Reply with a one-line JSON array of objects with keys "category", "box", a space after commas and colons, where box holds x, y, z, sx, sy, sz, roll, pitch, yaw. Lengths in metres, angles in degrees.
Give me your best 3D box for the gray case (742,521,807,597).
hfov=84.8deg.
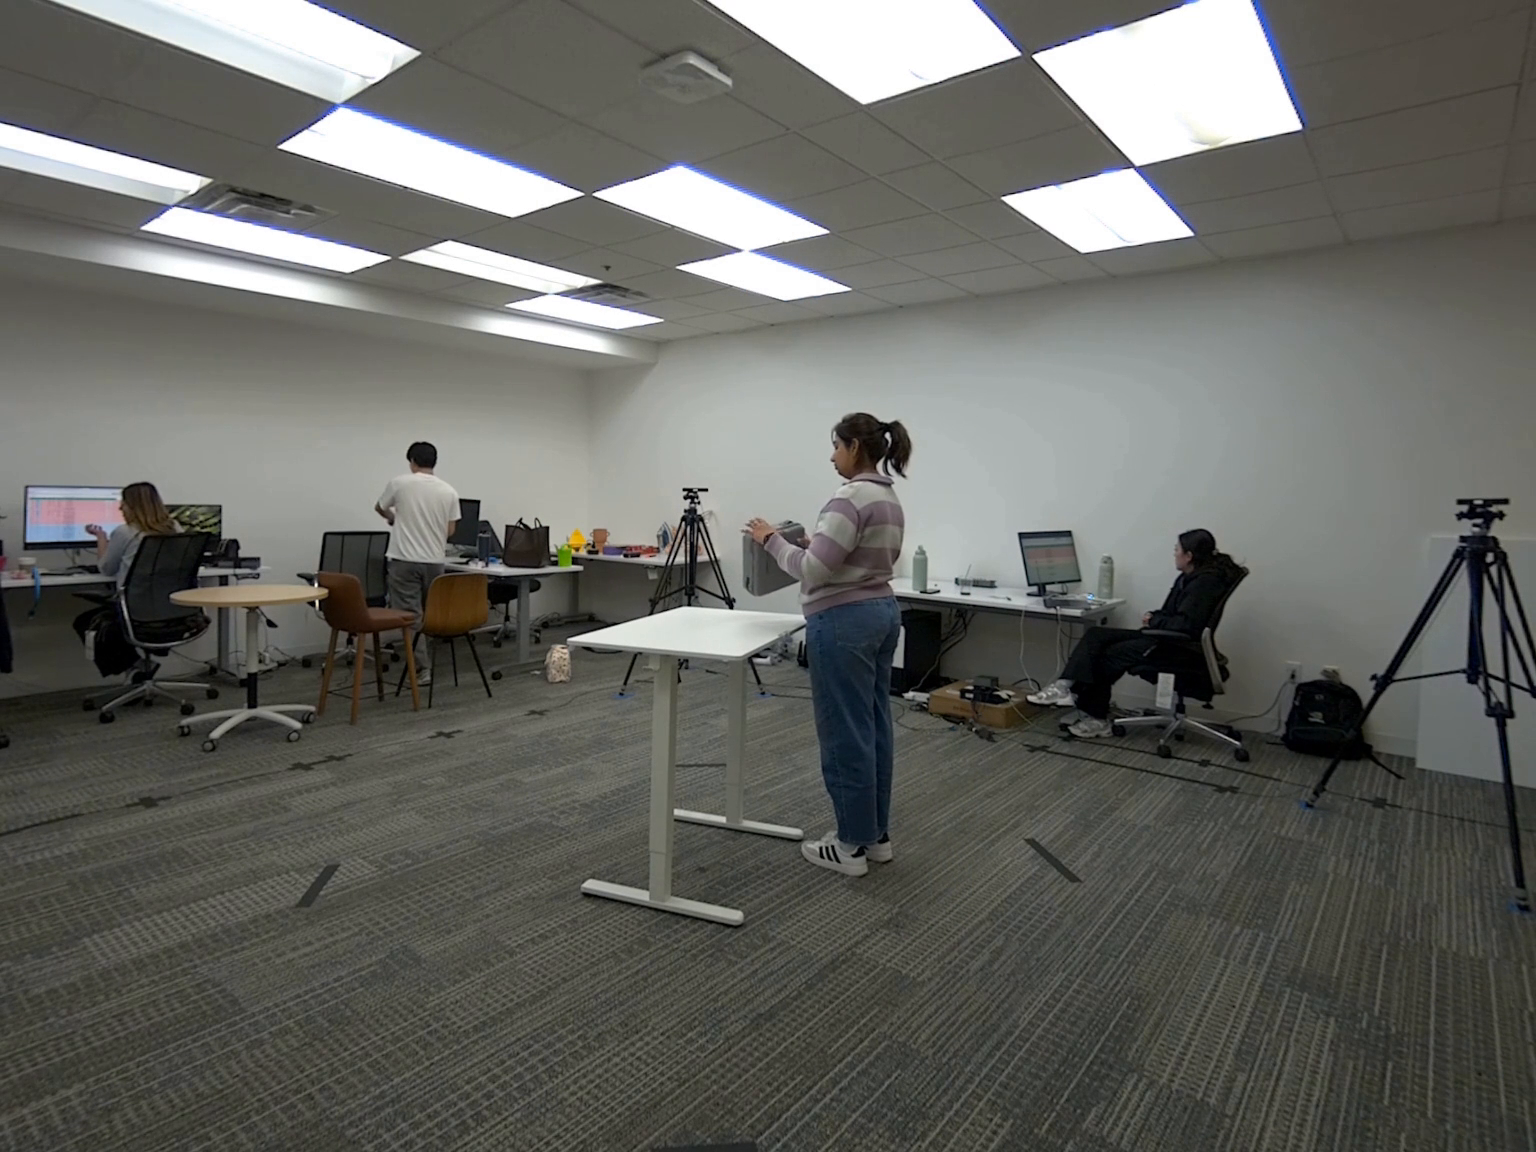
[{"category": "gray case", "box": [0.015, -0.081, 3.329, 0.255, 0.251, 0.108, -17, 28, -32]}]
